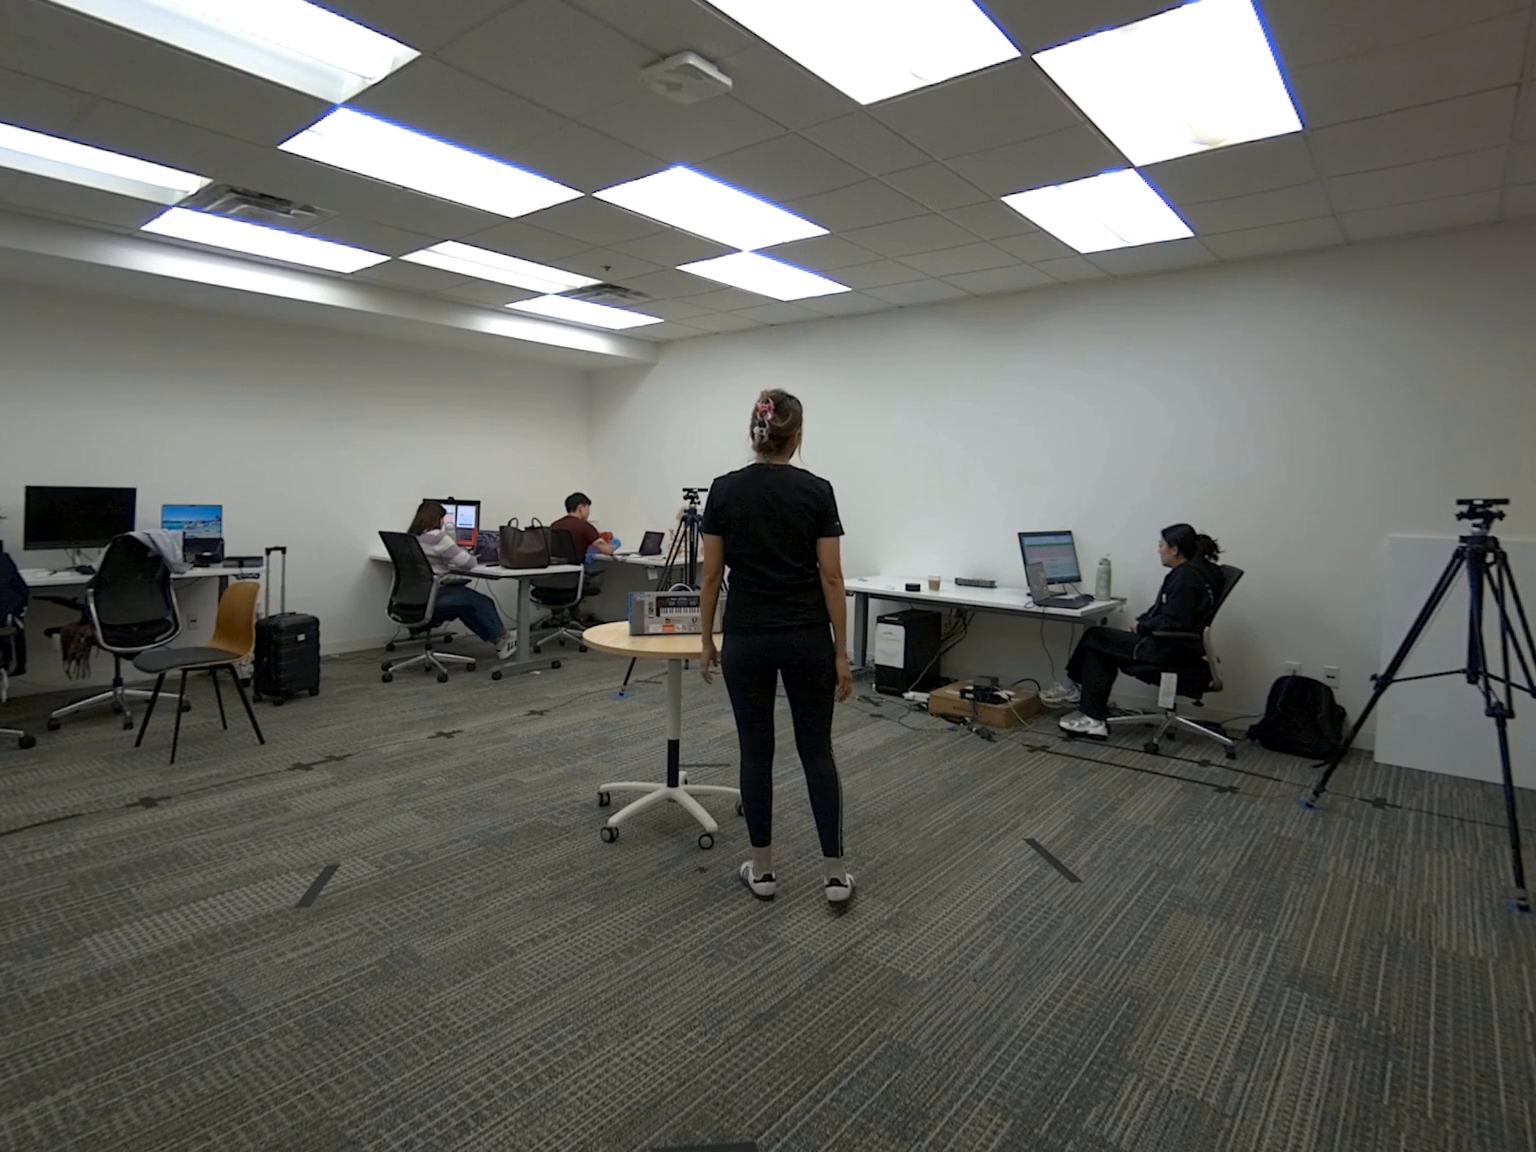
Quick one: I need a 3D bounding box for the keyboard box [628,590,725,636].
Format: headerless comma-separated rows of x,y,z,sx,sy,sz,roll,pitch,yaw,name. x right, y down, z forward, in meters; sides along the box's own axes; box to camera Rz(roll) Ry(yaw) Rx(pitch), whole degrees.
-0.379,0.149,3.564,0.429,0.176,0.060,-1,-3,-17,keyboard box
